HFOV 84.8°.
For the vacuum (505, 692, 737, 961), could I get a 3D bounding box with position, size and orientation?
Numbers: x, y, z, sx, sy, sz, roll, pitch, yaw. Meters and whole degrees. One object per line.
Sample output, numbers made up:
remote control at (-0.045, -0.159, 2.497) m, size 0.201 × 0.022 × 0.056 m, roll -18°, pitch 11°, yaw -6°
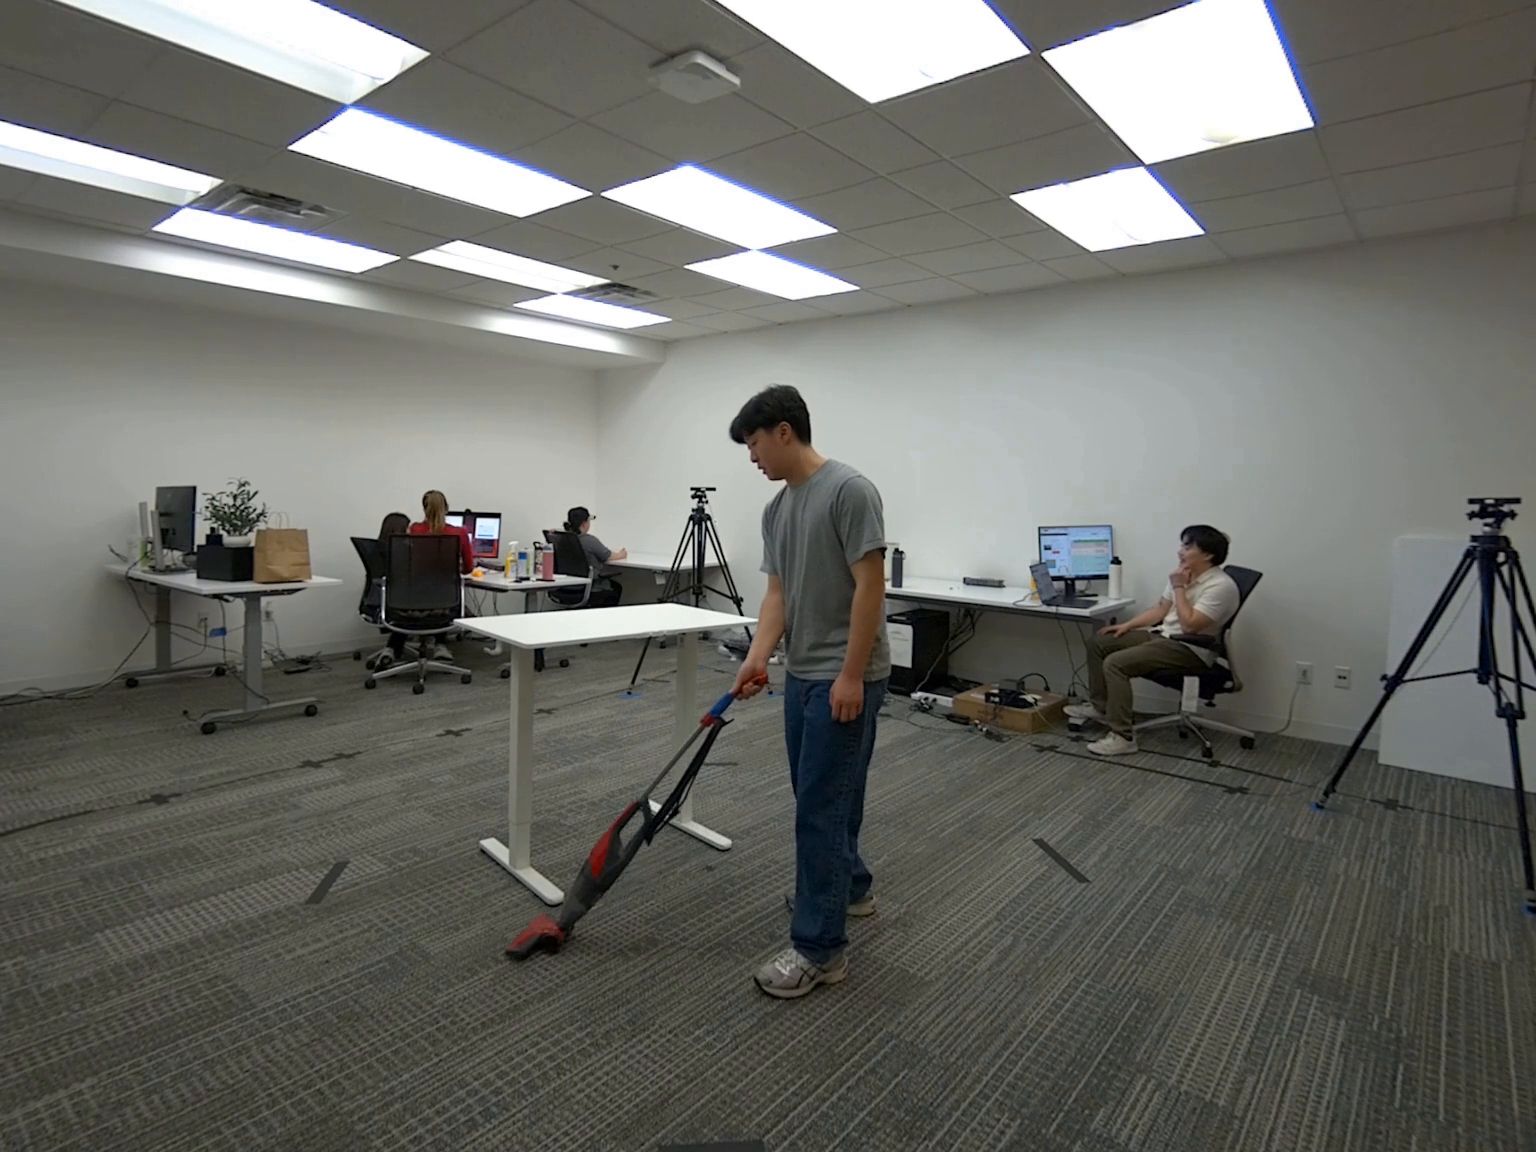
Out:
vacuum at (-0.366, 0.698, 2.528) m, size 0.145 × 1.049 × 0.251 m, roll 40°, pitch 7°, yaw 3°
